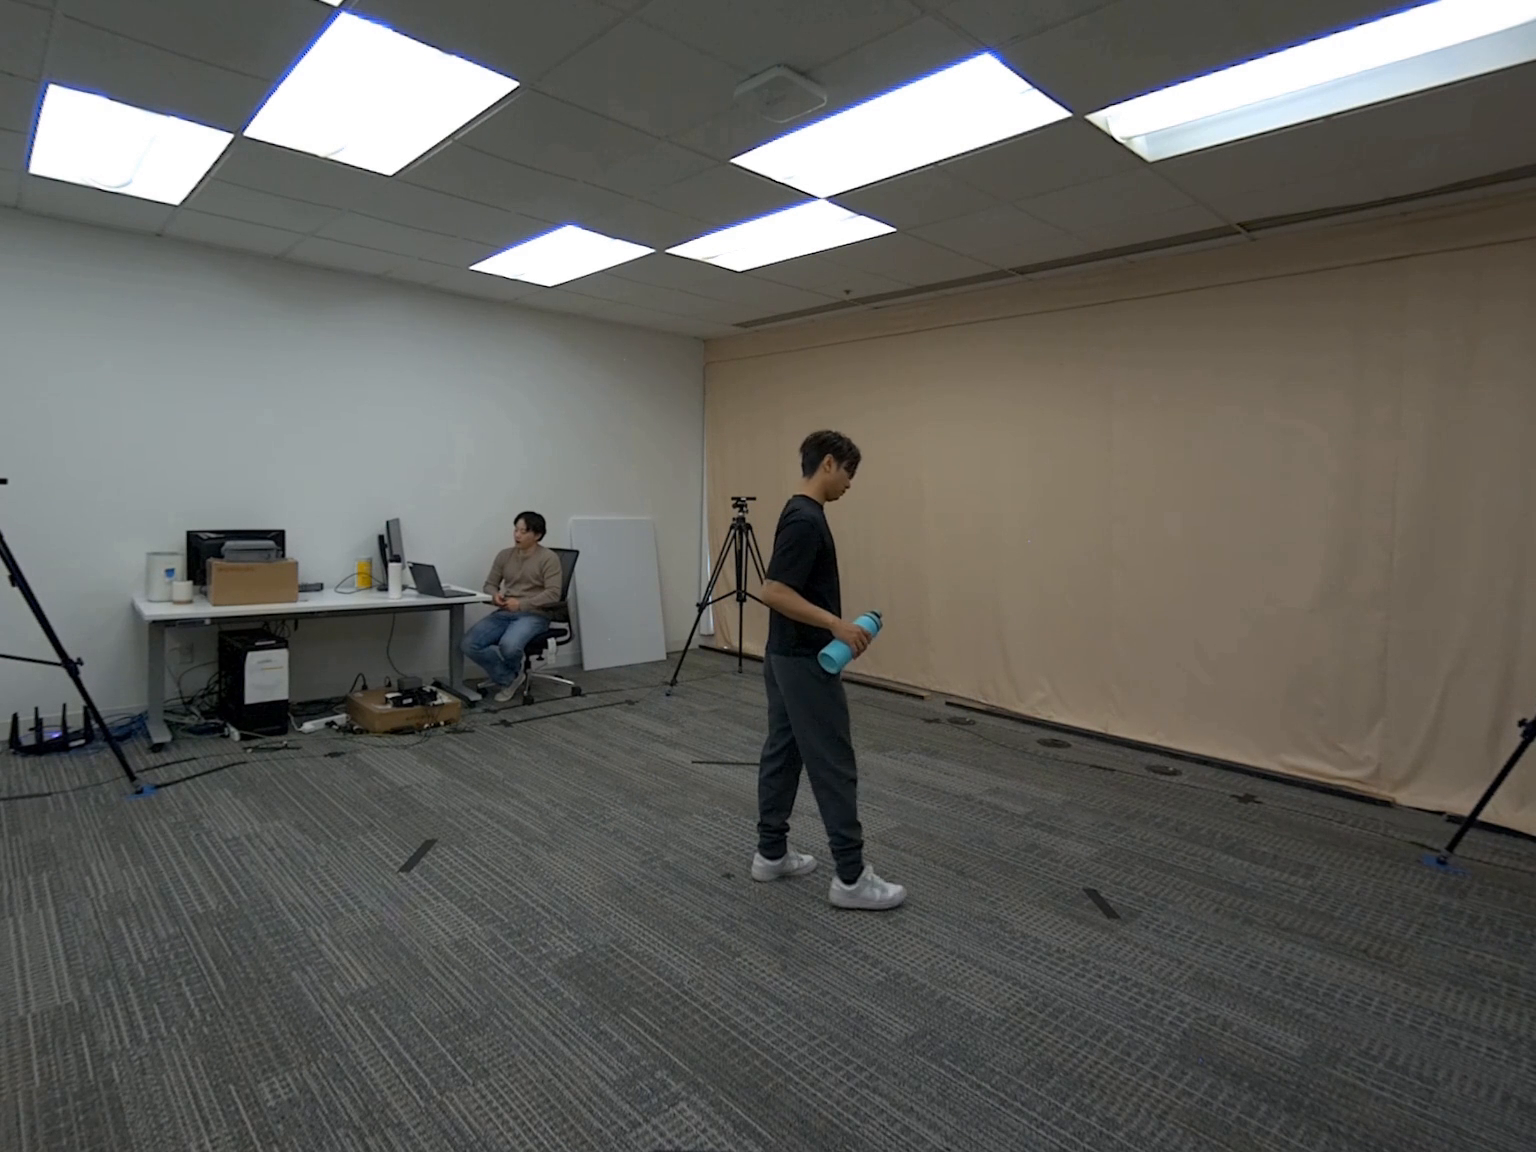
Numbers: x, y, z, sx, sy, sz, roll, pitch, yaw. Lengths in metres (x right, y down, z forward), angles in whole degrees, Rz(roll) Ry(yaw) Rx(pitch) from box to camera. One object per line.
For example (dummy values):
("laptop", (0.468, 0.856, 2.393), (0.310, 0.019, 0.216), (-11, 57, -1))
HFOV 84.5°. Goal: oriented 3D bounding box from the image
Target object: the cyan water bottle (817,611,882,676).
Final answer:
("cyan water bottle", (0.281, 0.216, 2.863), (0.282, 0.090, 0.094), (-38, 26, -30))
